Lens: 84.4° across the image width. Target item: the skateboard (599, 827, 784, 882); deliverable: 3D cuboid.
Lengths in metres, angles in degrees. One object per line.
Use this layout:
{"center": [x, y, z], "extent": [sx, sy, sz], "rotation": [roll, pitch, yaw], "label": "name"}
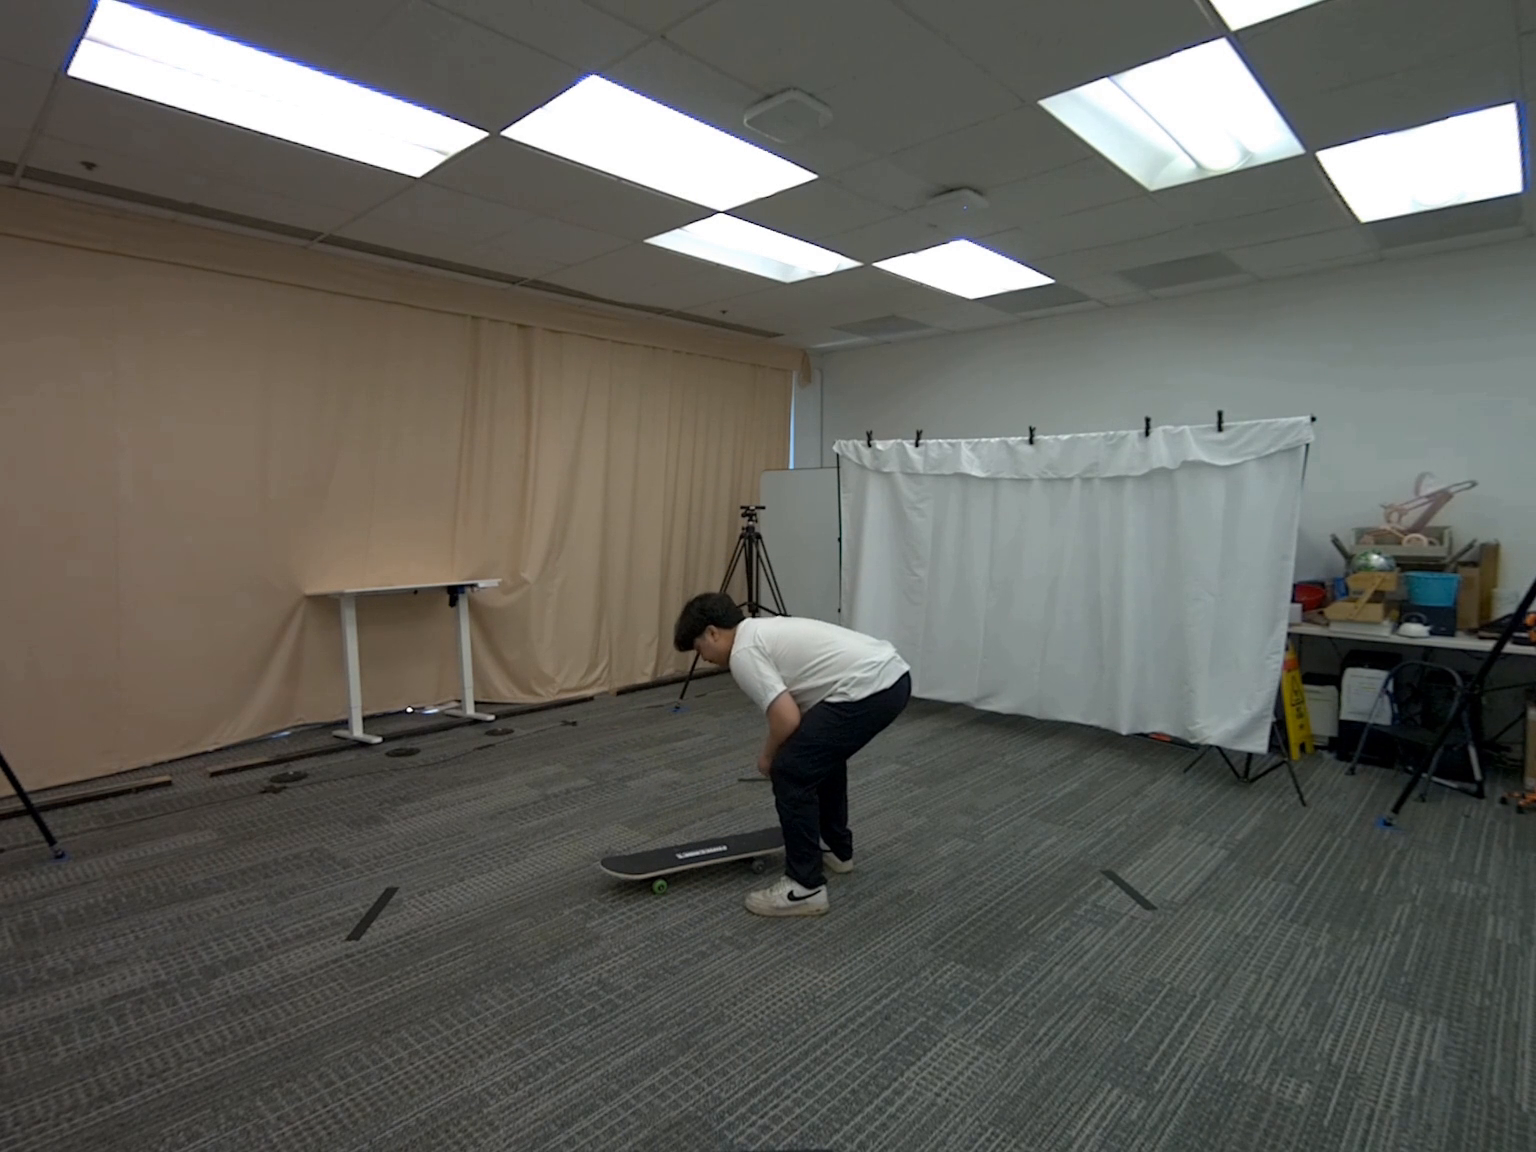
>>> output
{"center": [-0.253, 1.077, 3.180], "extent": [0.767, 0.110, 0.198], "rotation": [-2, 4, -24], "label": "skateboard"}
